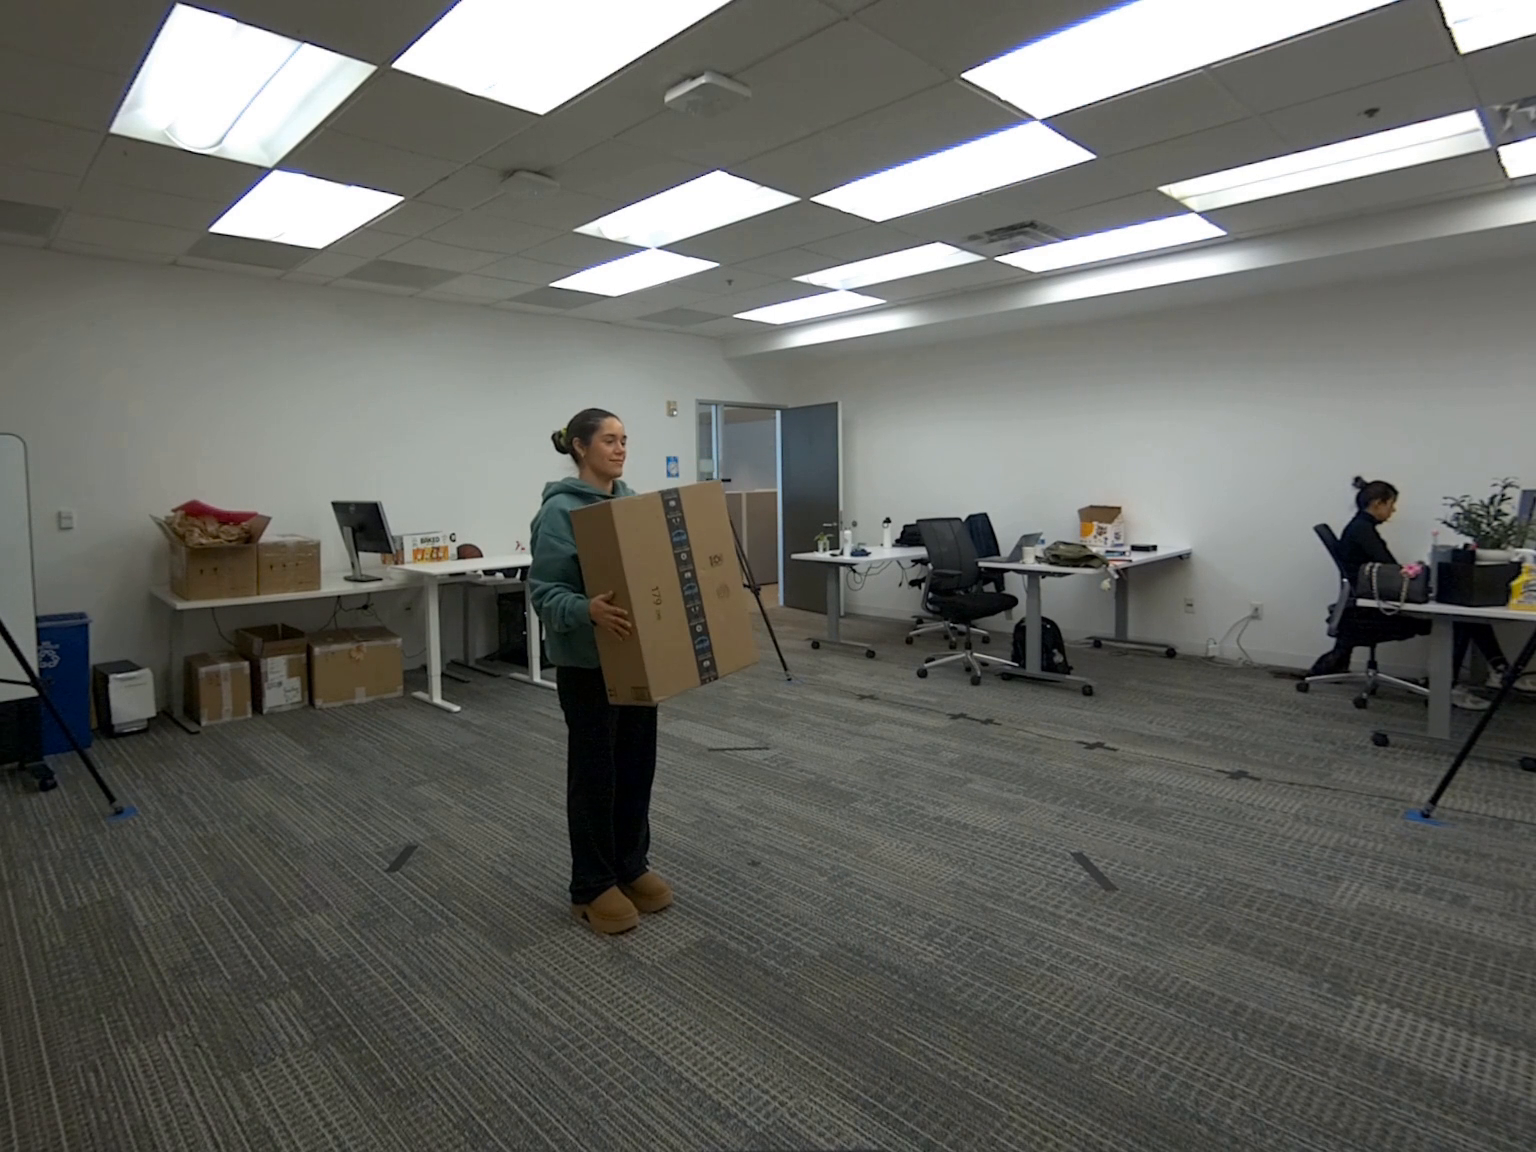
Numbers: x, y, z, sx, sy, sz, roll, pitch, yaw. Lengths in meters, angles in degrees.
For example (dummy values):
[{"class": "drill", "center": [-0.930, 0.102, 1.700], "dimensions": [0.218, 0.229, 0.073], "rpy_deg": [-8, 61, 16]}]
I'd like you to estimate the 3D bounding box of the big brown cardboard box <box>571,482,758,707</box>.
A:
[{"class": "big brown cardboard box", "center": [-0.298, 0.040, 2.498], "dimensions": [0.408, 0.587, 0.239], "rpy_deg": [-14, 4, -43]}]
